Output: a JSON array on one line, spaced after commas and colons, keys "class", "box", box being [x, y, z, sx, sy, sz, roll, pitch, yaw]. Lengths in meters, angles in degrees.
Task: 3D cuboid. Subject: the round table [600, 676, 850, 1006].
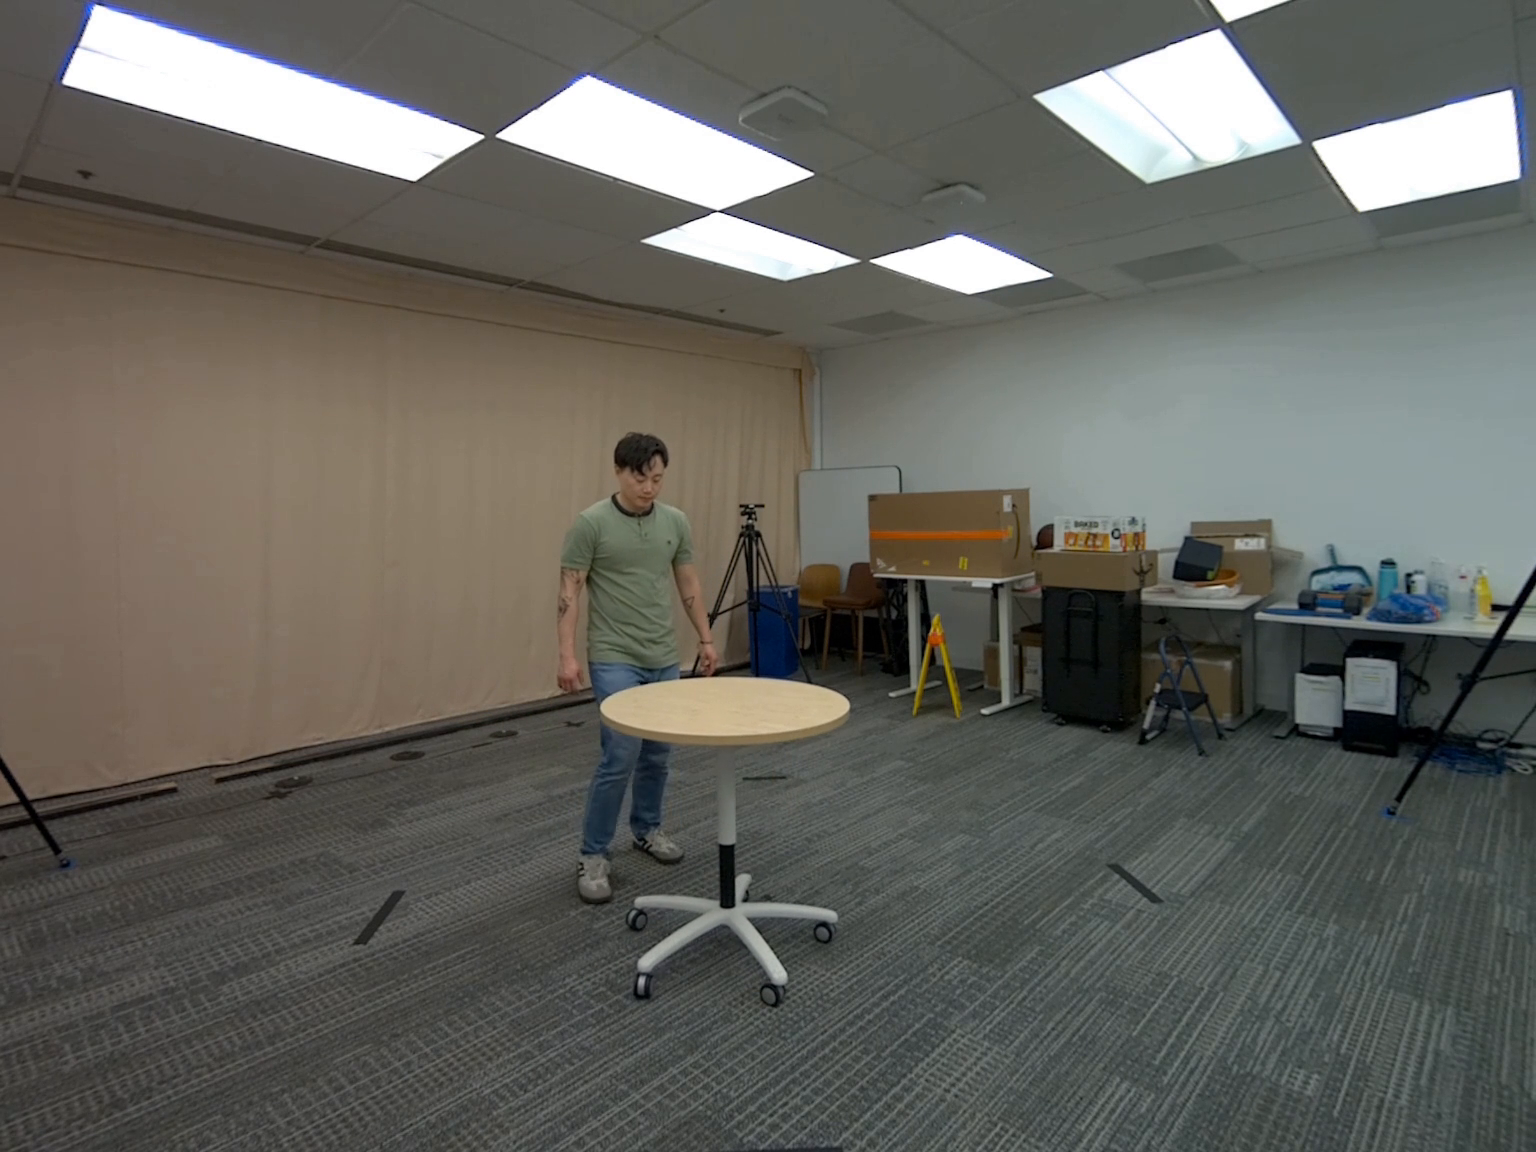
[{"class": "round table", "box": [-0.130, 0.786, 2.613, 0.763, 0.792, 0.767, -1, 4, -2]}]
